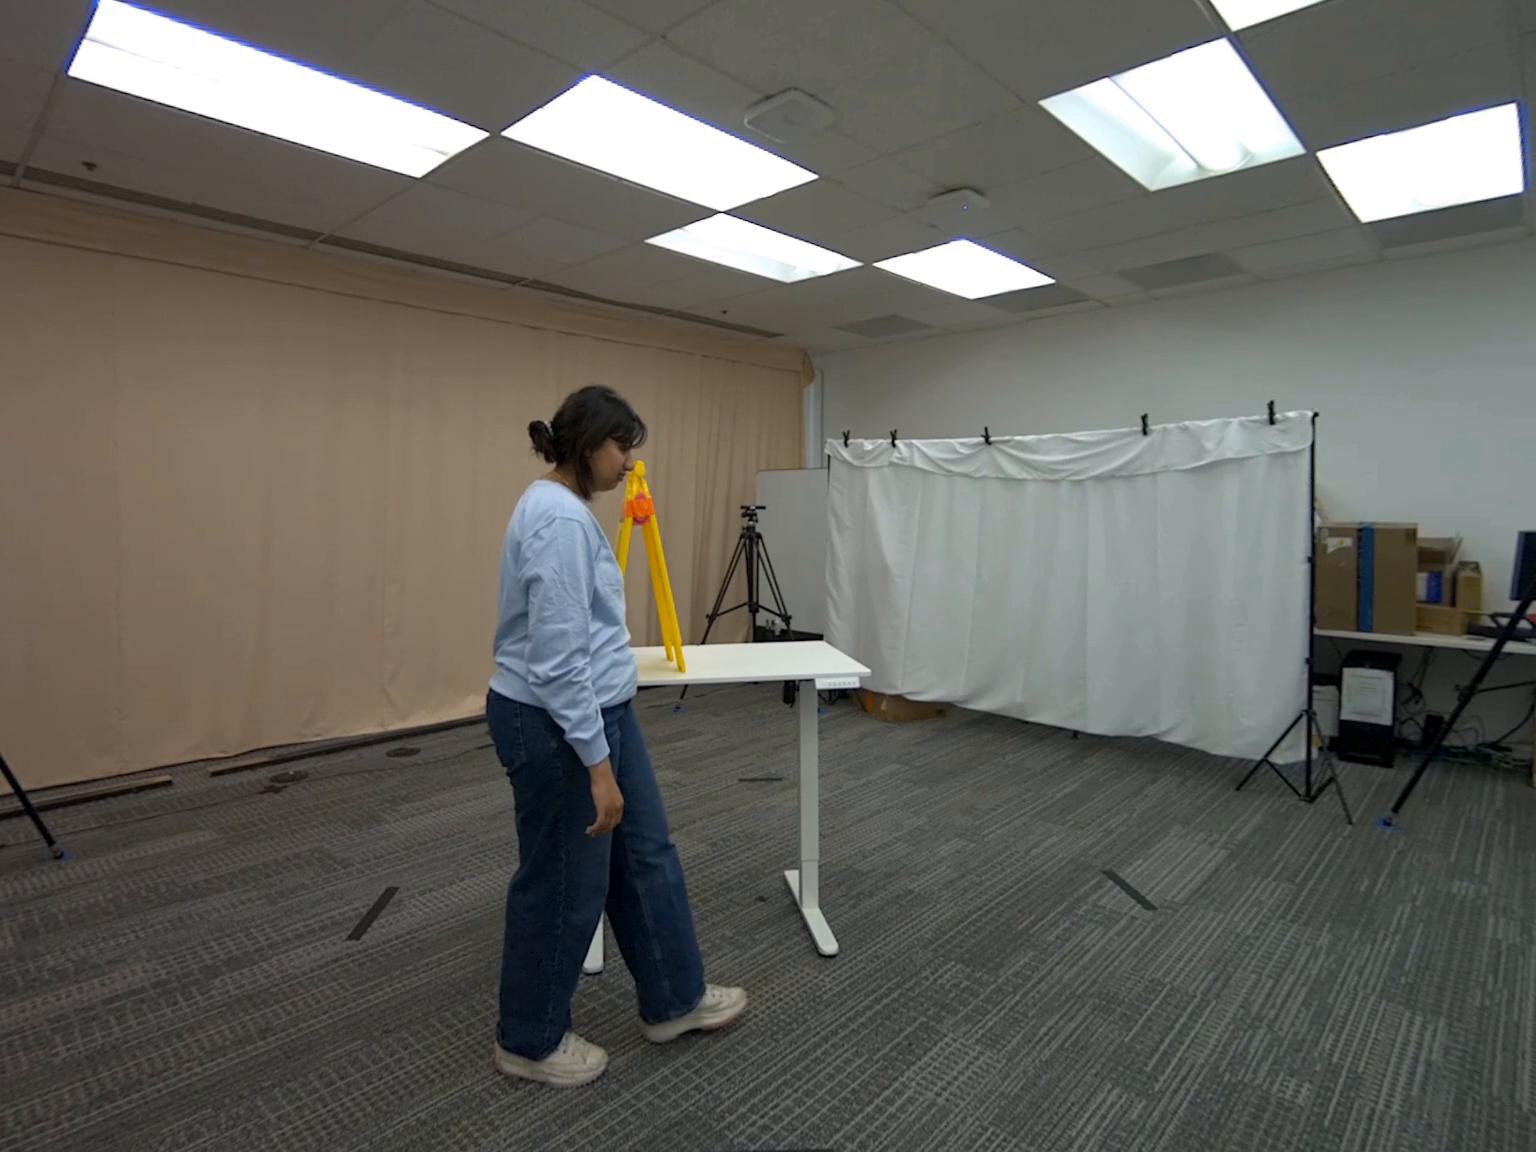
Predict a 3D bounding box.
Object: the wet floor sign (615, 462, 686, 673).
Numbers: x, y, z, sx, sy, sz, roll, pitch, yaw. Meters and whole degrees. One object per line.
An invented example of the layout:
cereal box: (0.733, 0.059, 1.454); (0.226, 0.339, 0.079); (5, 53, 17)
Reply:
wet floor sign: (-0.409, -0.034, 2.668); (0.286, 0.645, 0.286); (0, 2, -13)
